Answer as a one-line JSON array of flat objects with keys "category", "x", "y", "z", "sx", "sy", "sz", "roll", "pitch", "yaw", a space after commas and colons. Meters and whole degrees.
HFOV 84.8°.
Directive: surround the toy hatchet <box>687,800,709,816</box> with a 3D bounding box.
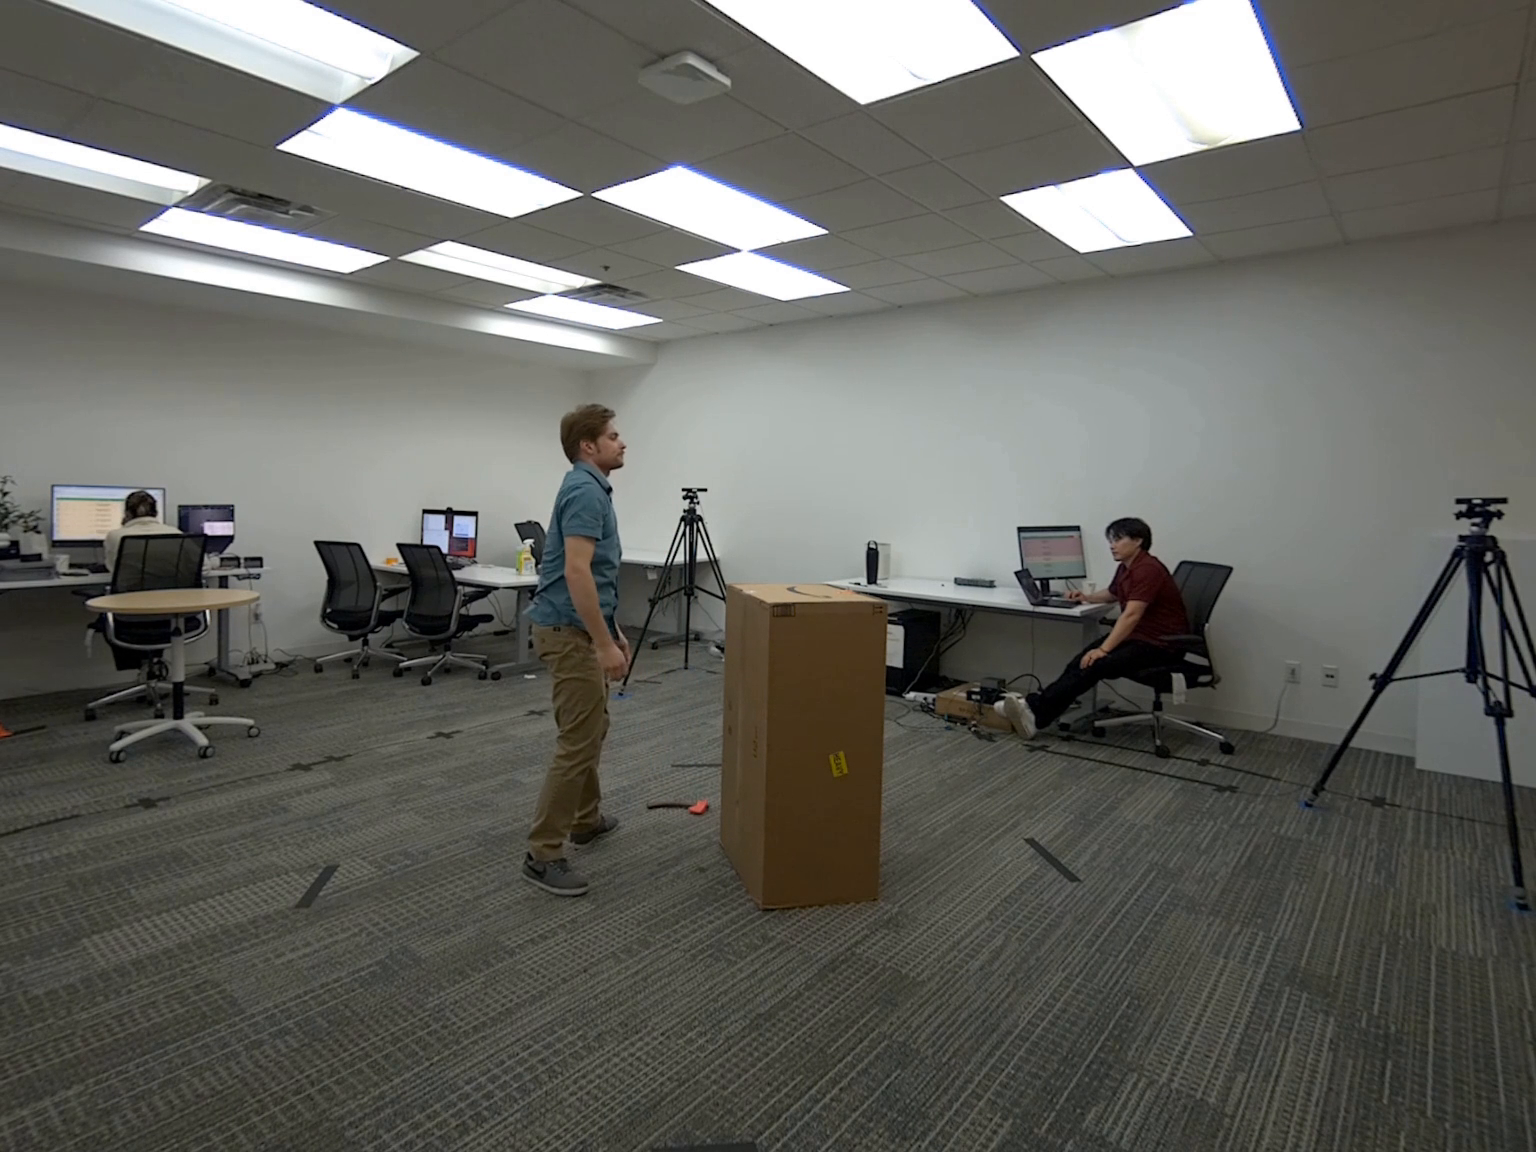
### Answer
[{"category": "toy hatchet", "x": -0.401, "y": 1.001, "z": 3.680, "sx": 0.268, "sy": 0.029, "sz": 0.133, "roll": -3, "pitch": 10, "yaw": -8}]
